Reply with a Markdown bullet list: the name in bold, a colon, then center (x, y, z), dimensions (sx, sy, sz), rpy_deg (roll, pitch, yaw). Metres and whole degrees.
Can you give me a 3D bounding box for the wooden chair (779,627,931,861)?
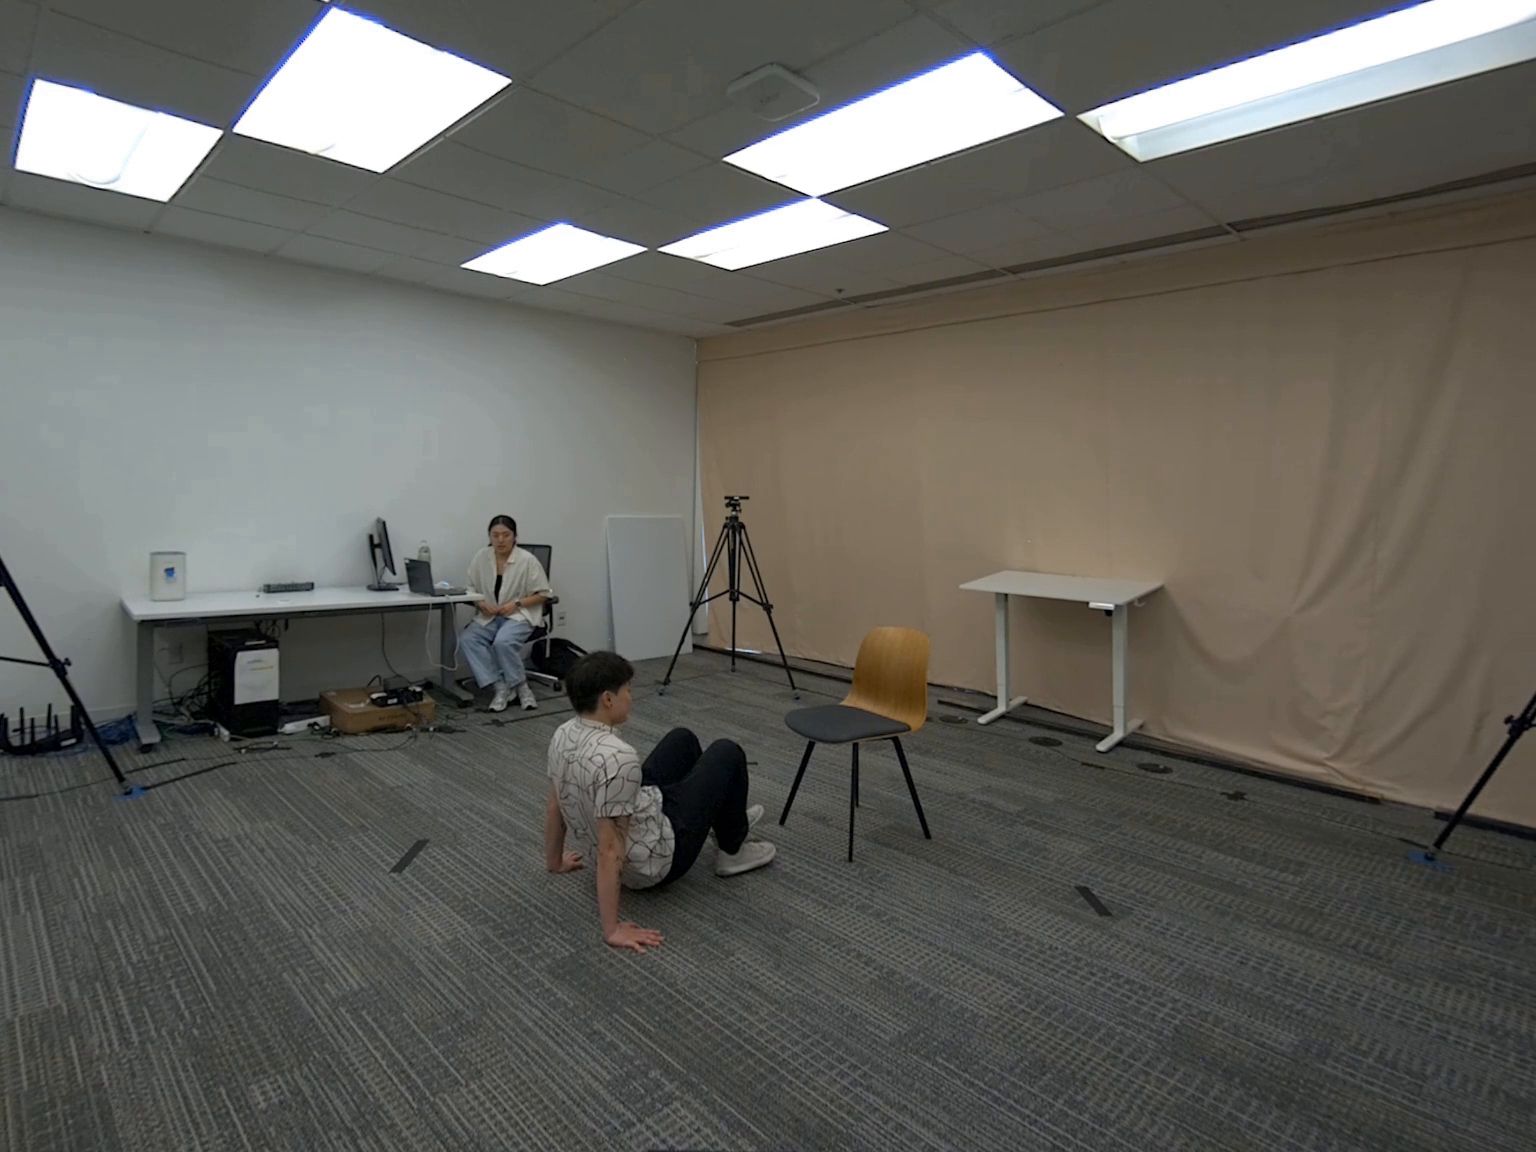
- **wooden chair**: center (0.363, 0.654, 3.513), dimensions (0.511, 0.877, 0.490), rpy_deg (5, 1, -36)
